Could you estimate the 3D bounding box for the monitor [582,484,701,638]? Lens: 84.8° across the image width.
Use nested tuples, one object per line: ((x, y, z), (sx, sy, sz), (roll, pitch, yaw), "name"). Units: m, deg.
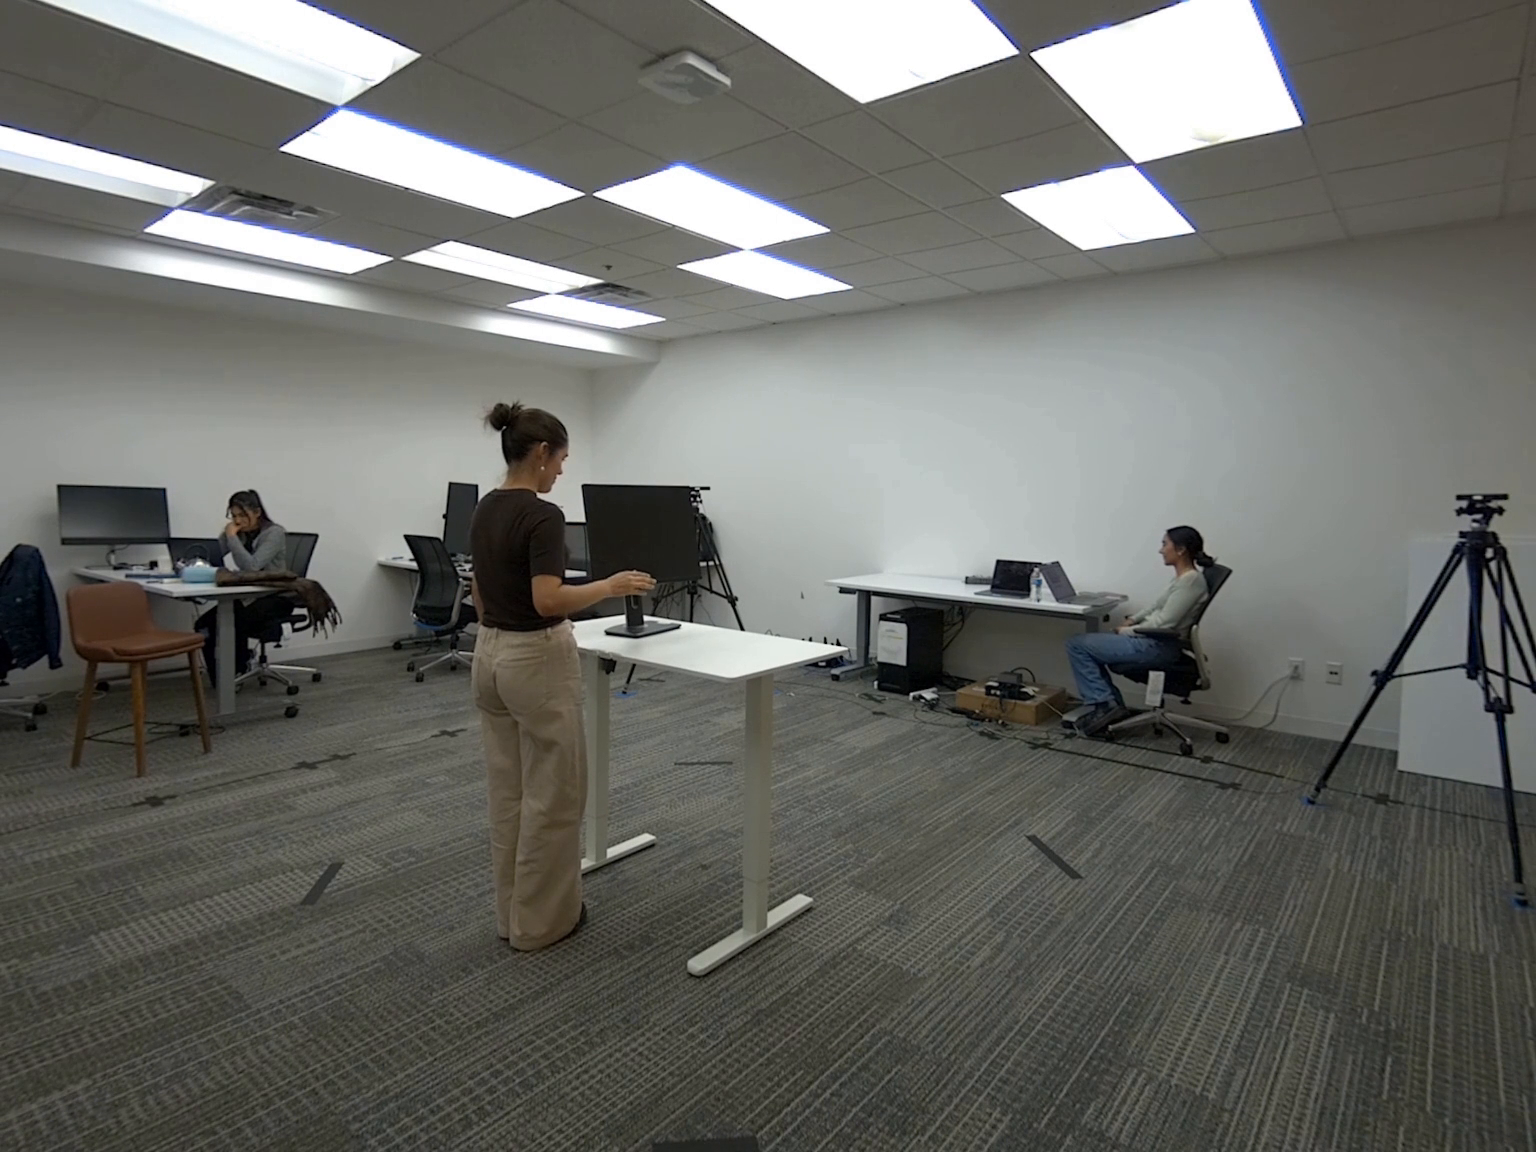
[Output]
((-0.456, -0.060, 2.979), (0.193, 0.521, 0.524), (4, 5, 36), "monitor")
